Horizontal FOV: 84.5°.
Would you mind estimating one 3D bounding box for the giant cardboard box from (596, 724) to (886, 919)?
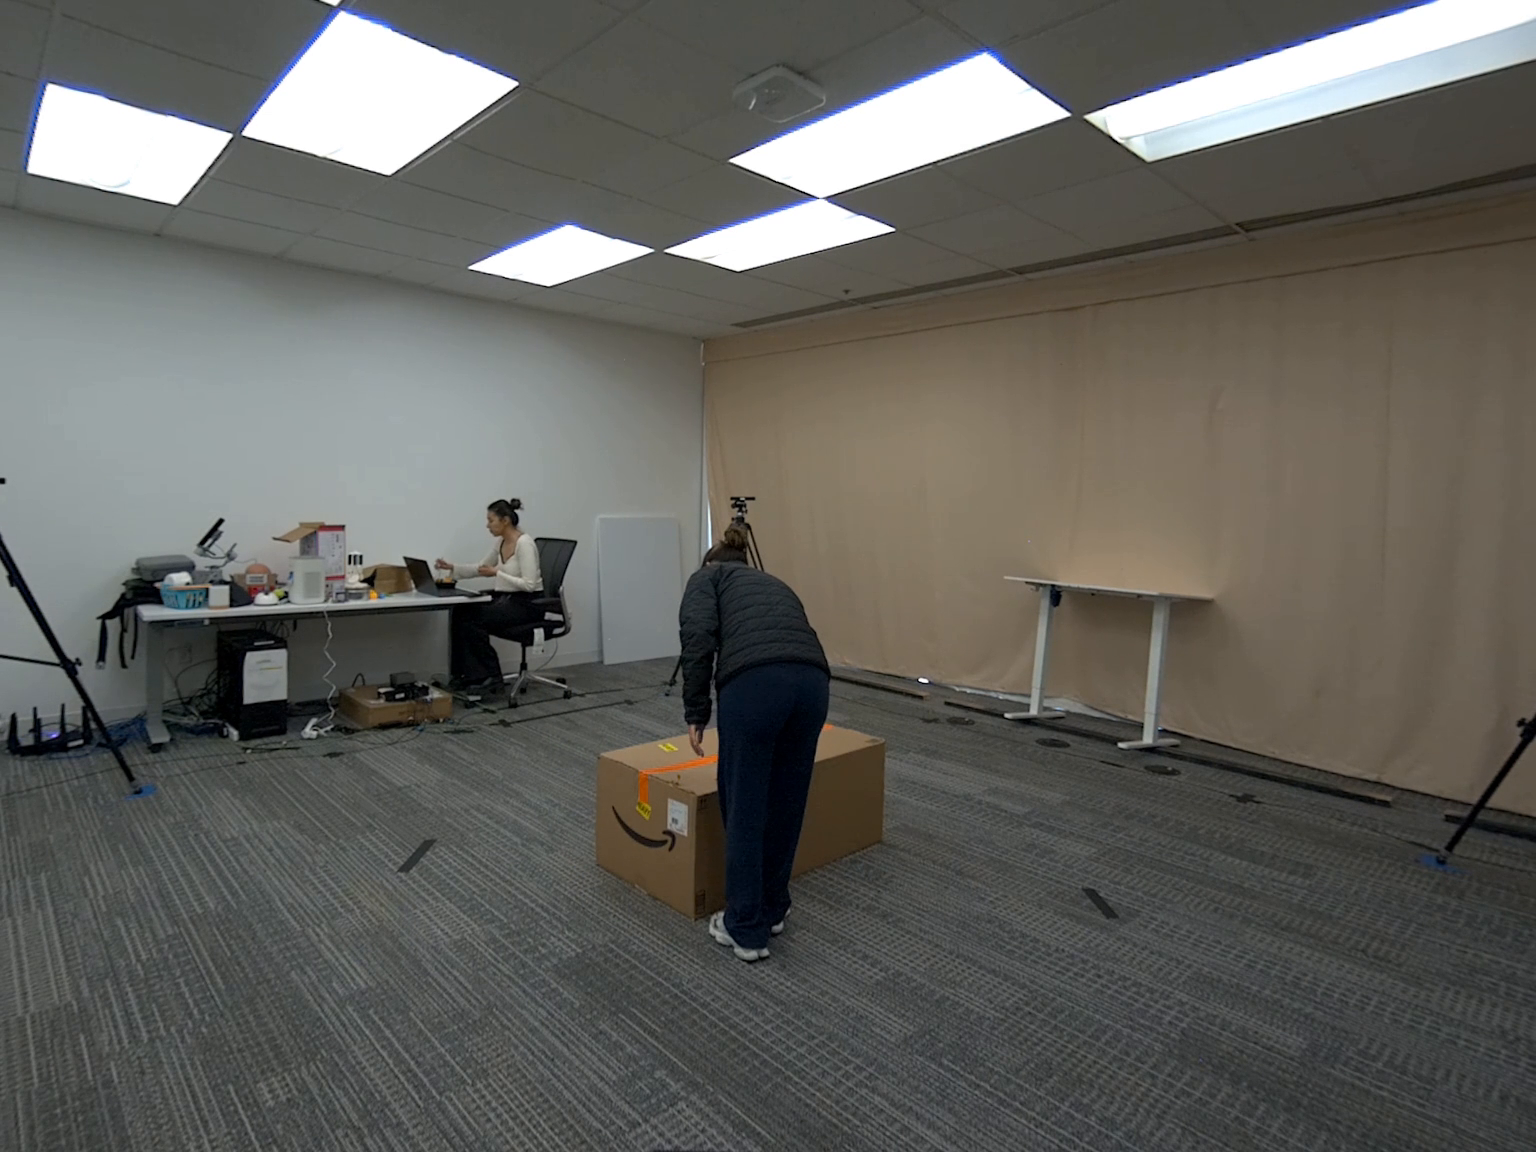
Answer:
[{"bbox_3d":[-0.089,0.883,3.295,1.003,0.445,0.599,-3,7,-45],"label":"giant cardboard box"}]
